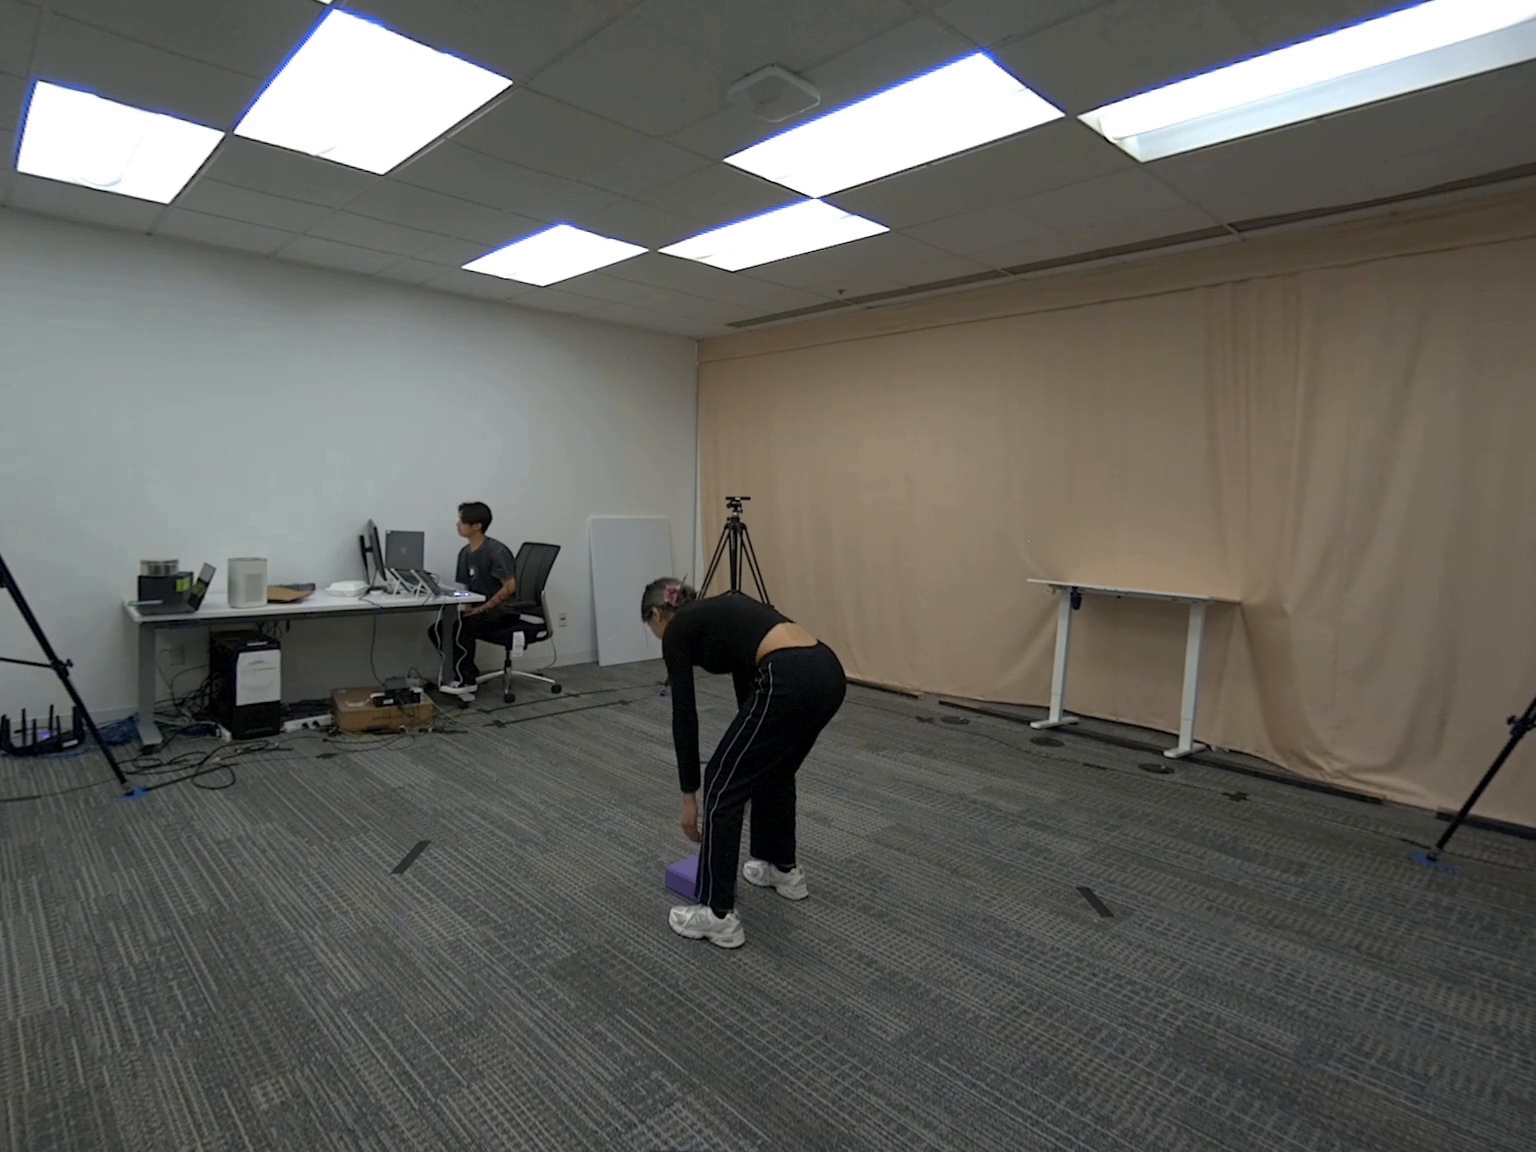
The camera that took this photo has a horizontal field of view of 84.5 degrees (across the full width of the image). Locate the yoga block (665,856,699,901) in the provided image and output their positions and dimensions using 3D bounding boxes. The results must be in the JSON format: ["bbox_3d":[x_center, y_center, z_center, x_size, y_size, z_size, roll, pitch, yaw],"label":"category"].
[{"bbox_3d":[-0.240,1.077,2.975,0.235,0.076,0.146,5,8,41],"label":"yoga block"}]
